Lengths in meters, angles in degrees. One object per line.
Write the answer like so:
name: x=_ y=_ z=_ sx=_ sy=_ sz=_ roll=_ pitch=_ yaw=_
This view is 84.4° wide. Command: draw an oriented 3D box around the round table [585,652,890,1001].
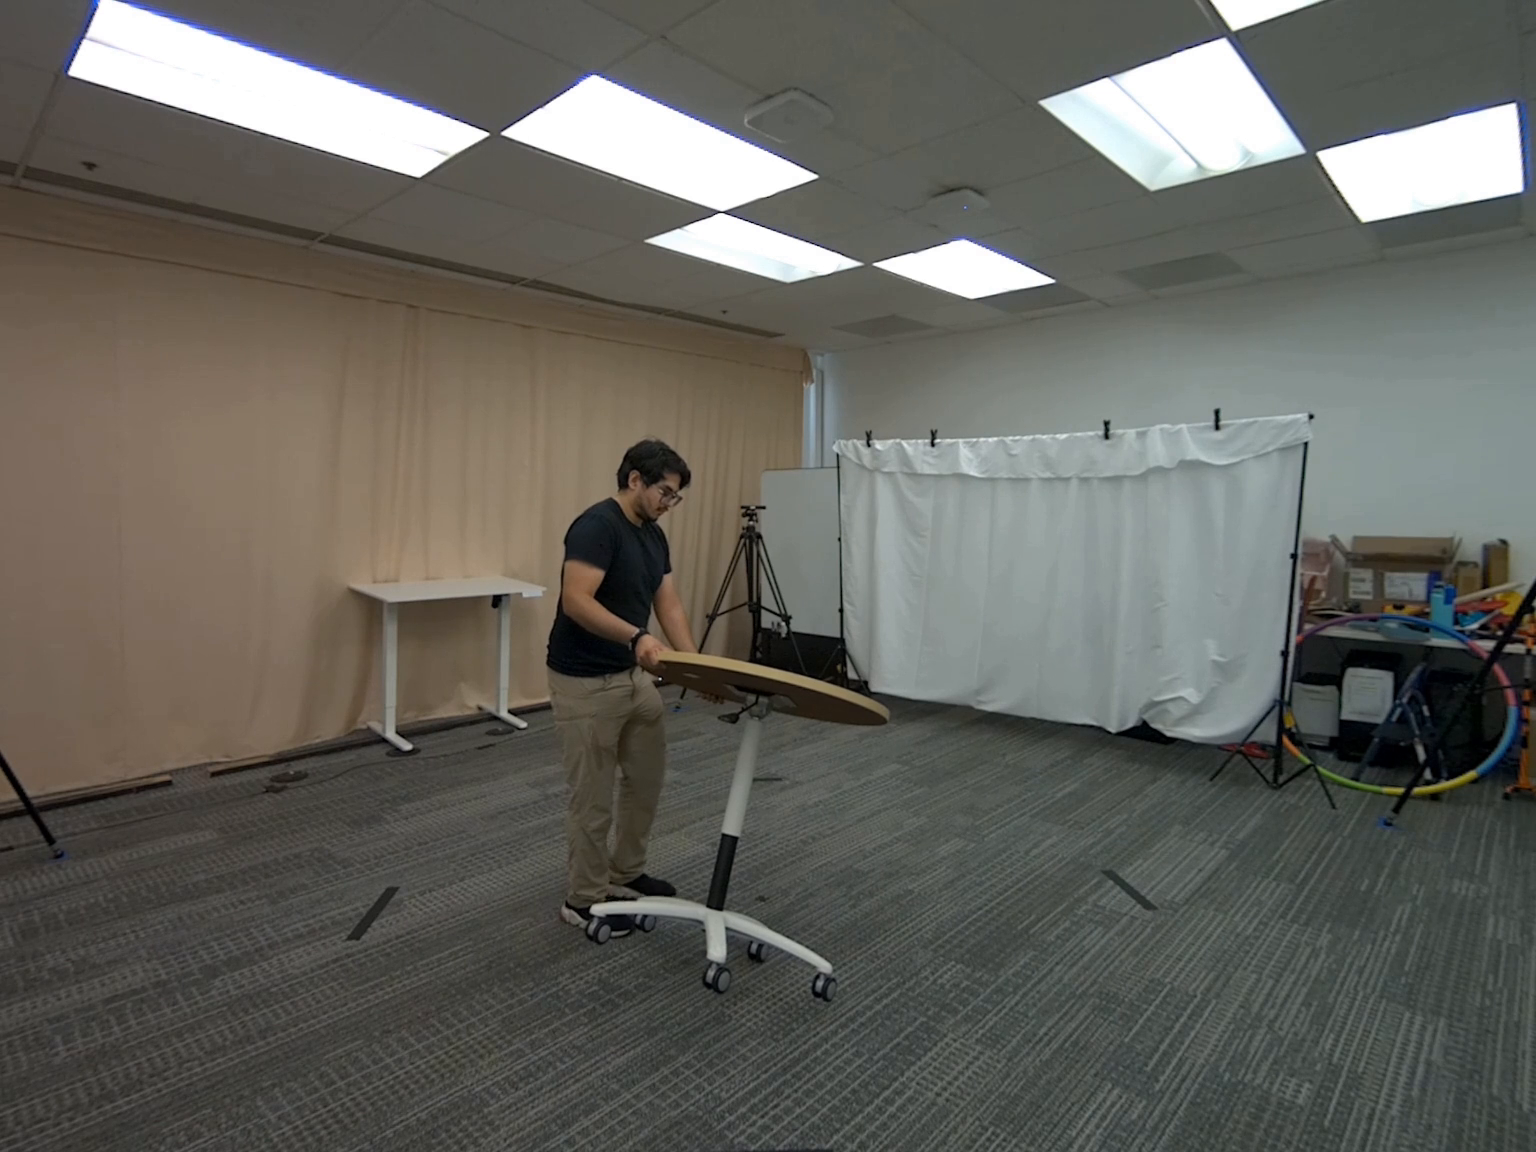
round table: x=-0.097 y=0.705 z=2.430 sx=0.788 sy=0.791 sz=0.778 roll=12 pitch=-16 yaw=2
